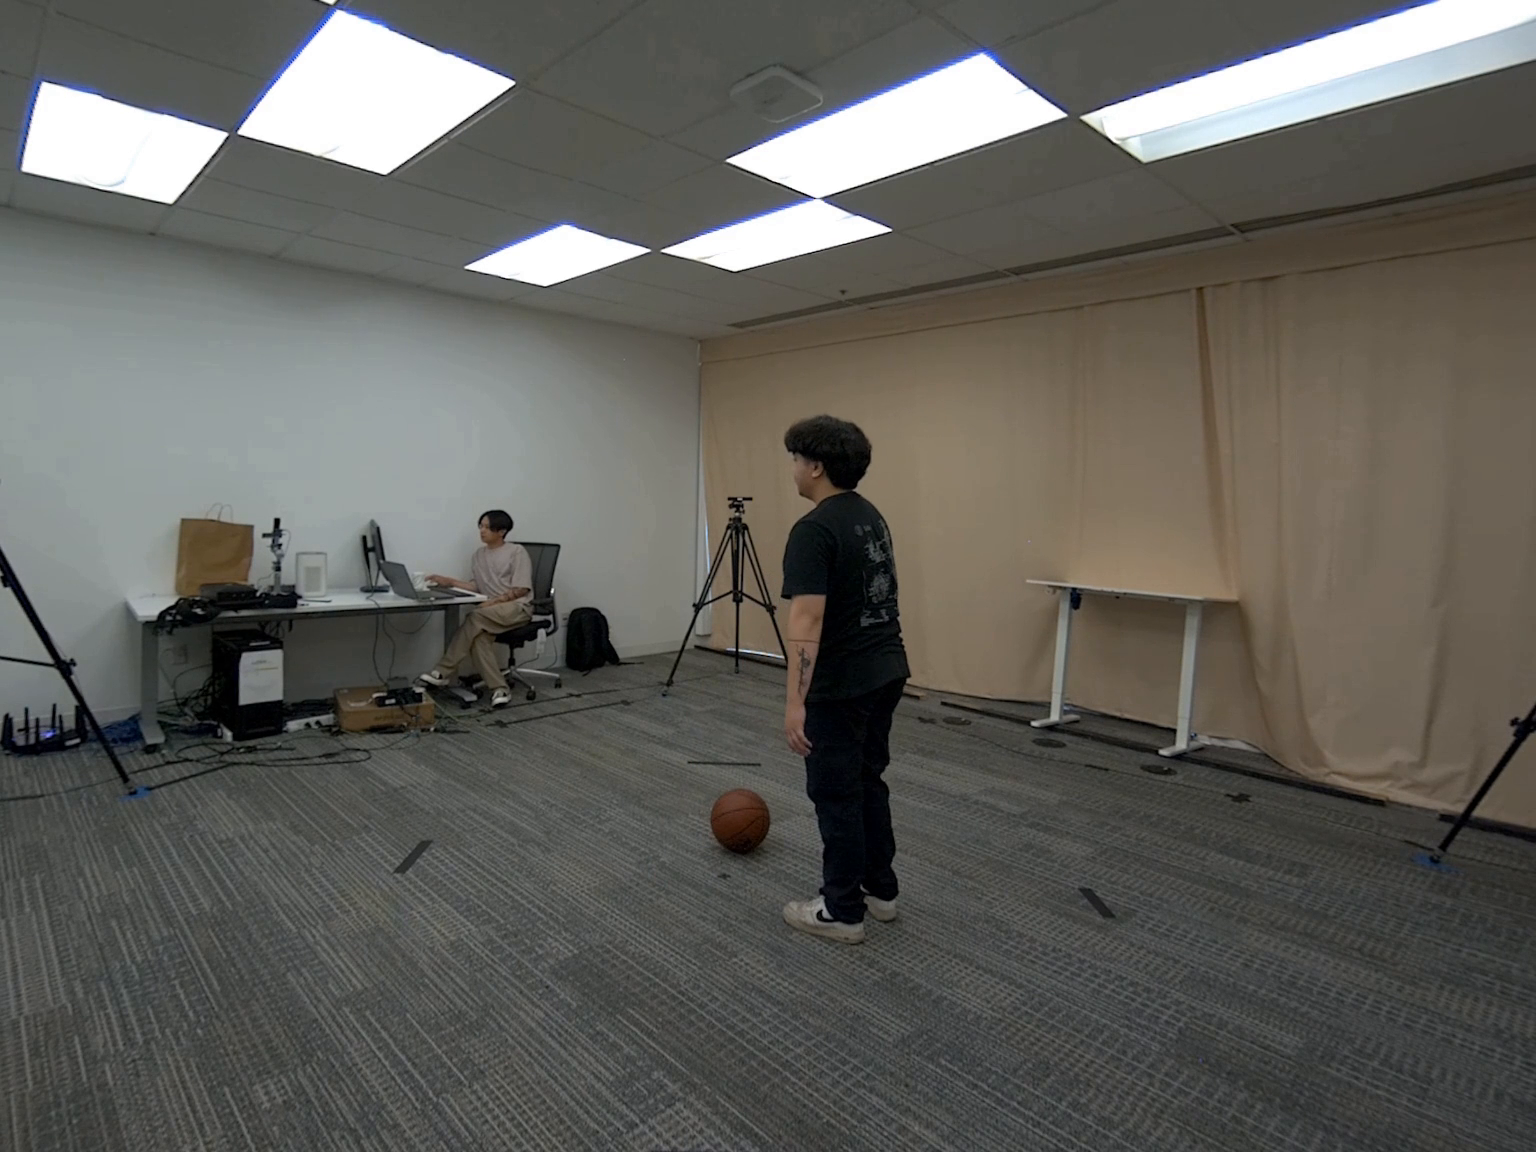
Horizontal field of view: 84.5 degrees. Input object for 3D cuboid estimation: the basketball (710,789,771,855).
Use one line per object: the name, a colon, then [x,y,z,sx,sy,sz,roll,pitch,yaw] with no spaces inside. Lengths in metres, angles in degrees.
basketball: [-0.117,0.966,3.340,0.236,0.235,0.237,1,4,-1]
